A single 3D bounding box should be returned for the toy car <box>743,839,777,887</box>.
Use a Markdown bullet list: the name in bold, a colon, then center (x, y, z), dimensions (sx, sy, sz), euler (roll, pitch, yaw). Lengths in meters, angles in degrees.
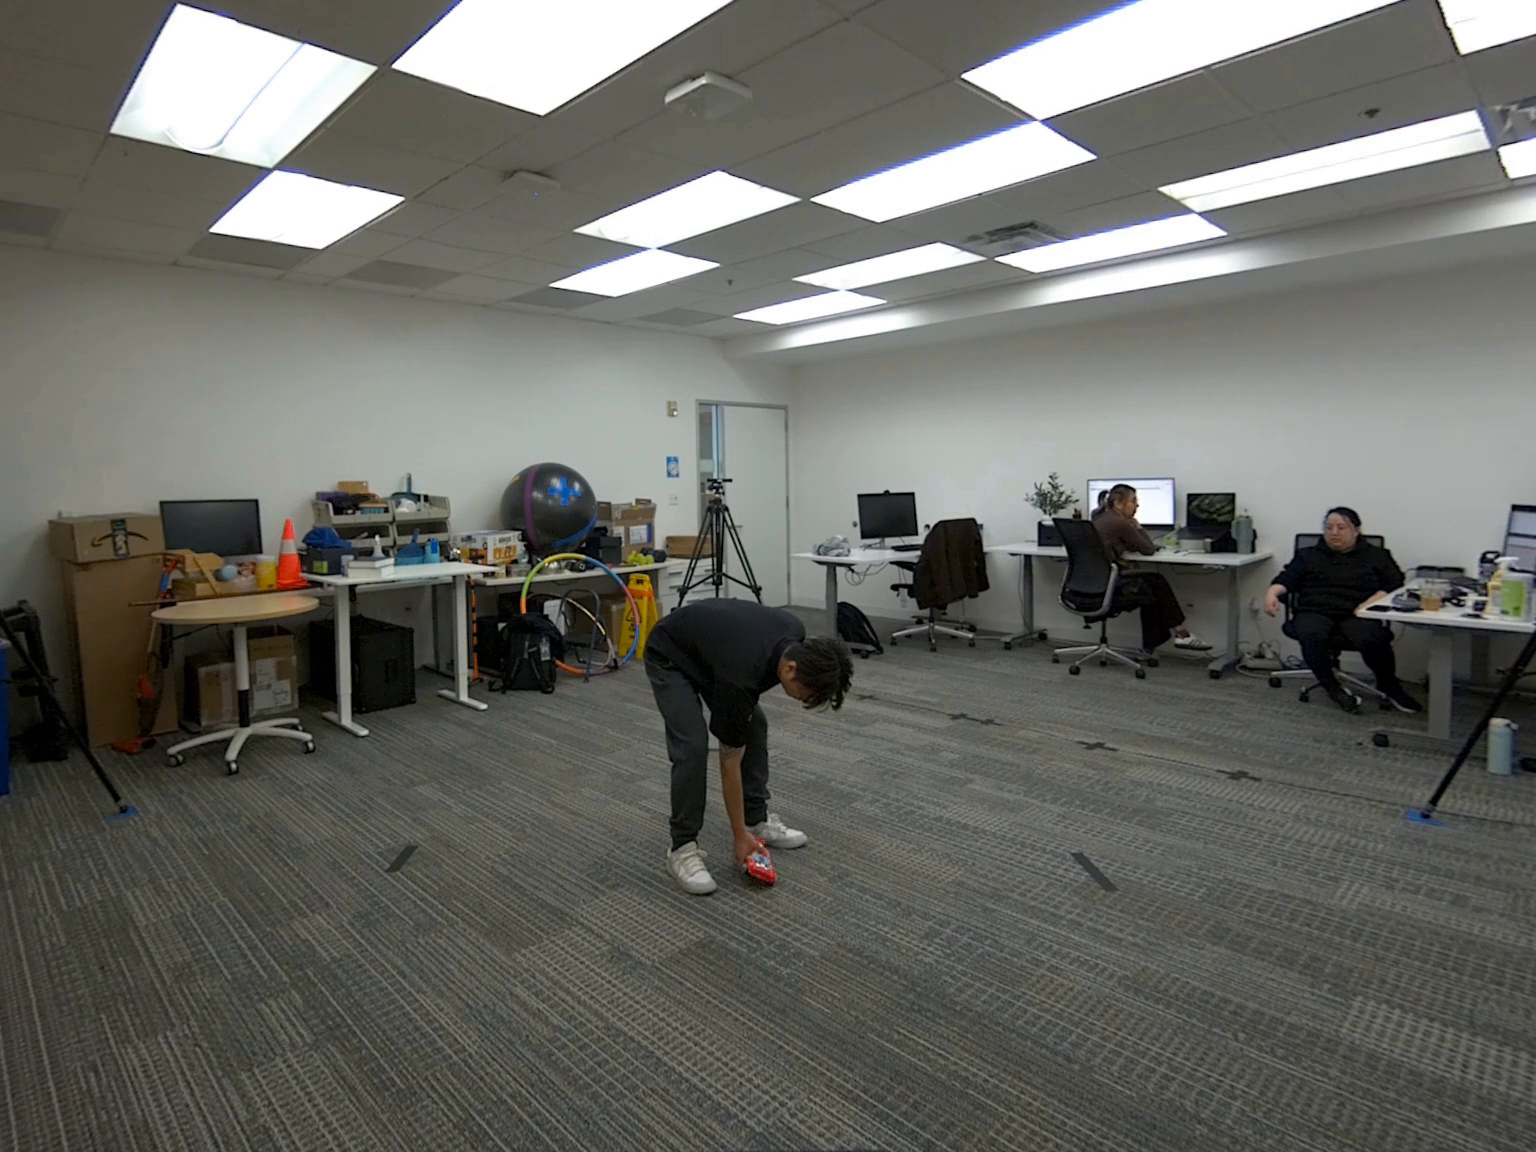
- **toy car**: center (-0.030, 1.009, 3.023), dimensions (0.129, 0.083, 0.258), euler (23, 14, -9)
